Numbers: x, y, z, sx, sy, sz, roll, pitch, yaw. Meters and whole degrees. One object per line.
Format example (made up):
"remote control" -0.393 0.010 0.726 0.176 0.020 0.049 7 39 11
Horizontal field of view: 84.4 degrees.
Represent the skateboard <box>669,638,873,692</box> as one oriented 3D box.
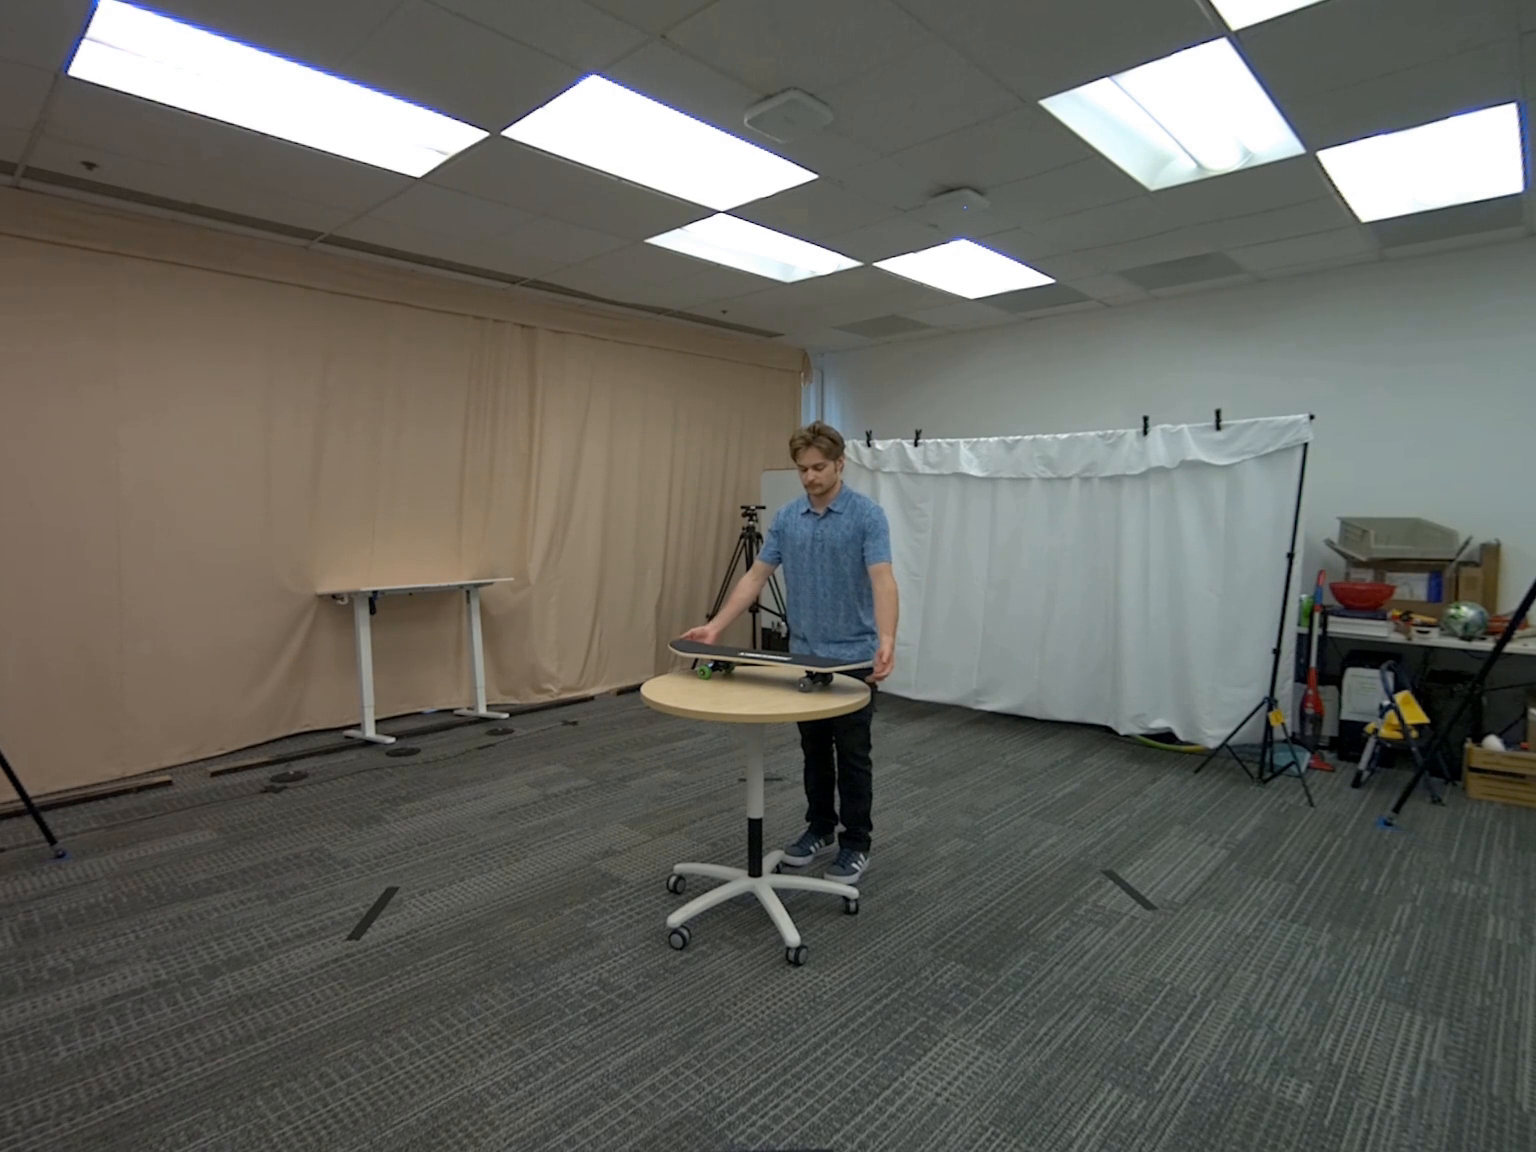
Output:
"skateboard" -0.001 0.316 2.913 0.809 0.110 0.188 3 5 32
